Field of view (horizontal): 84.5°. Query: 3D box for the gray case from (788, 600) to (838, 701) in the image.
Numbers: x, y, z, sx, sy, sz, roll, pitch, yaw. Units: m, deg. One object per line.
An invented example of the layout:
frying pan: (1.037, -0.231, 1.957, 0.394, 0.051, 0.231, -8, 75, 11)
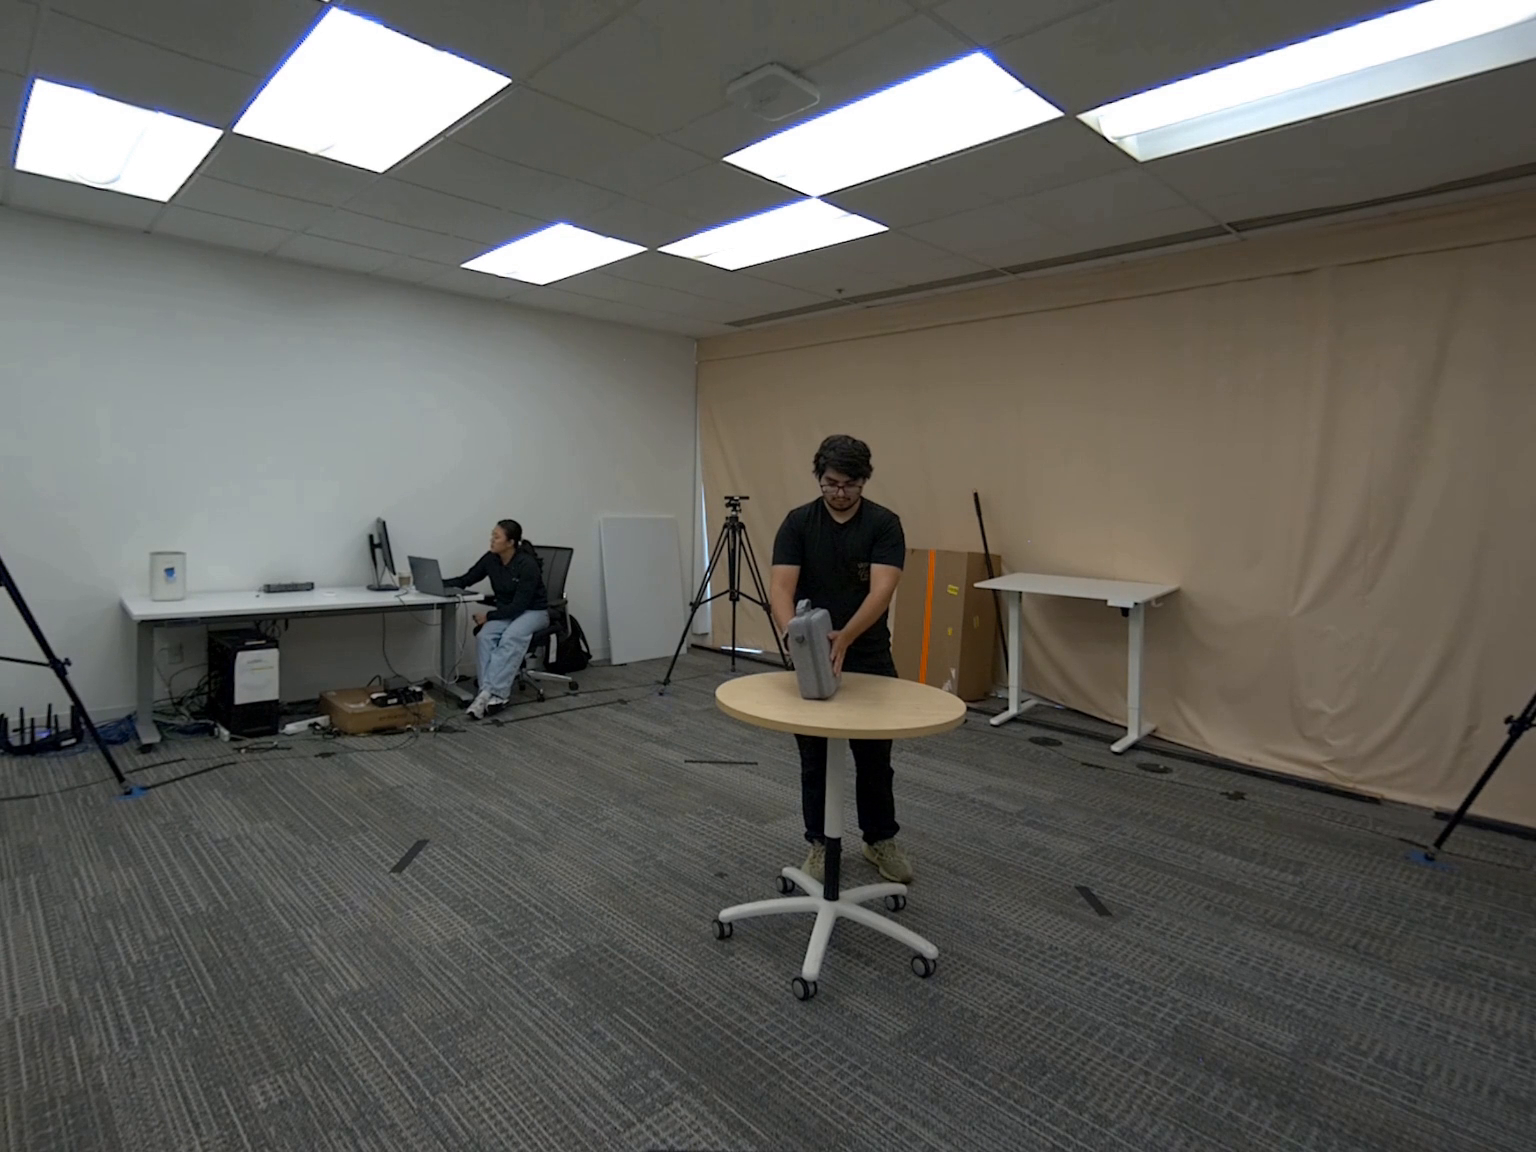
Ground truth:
gray case: (0.137, 0.237, 2.646, 0.105, 0.261, 0.254, -6, 1, 12)
